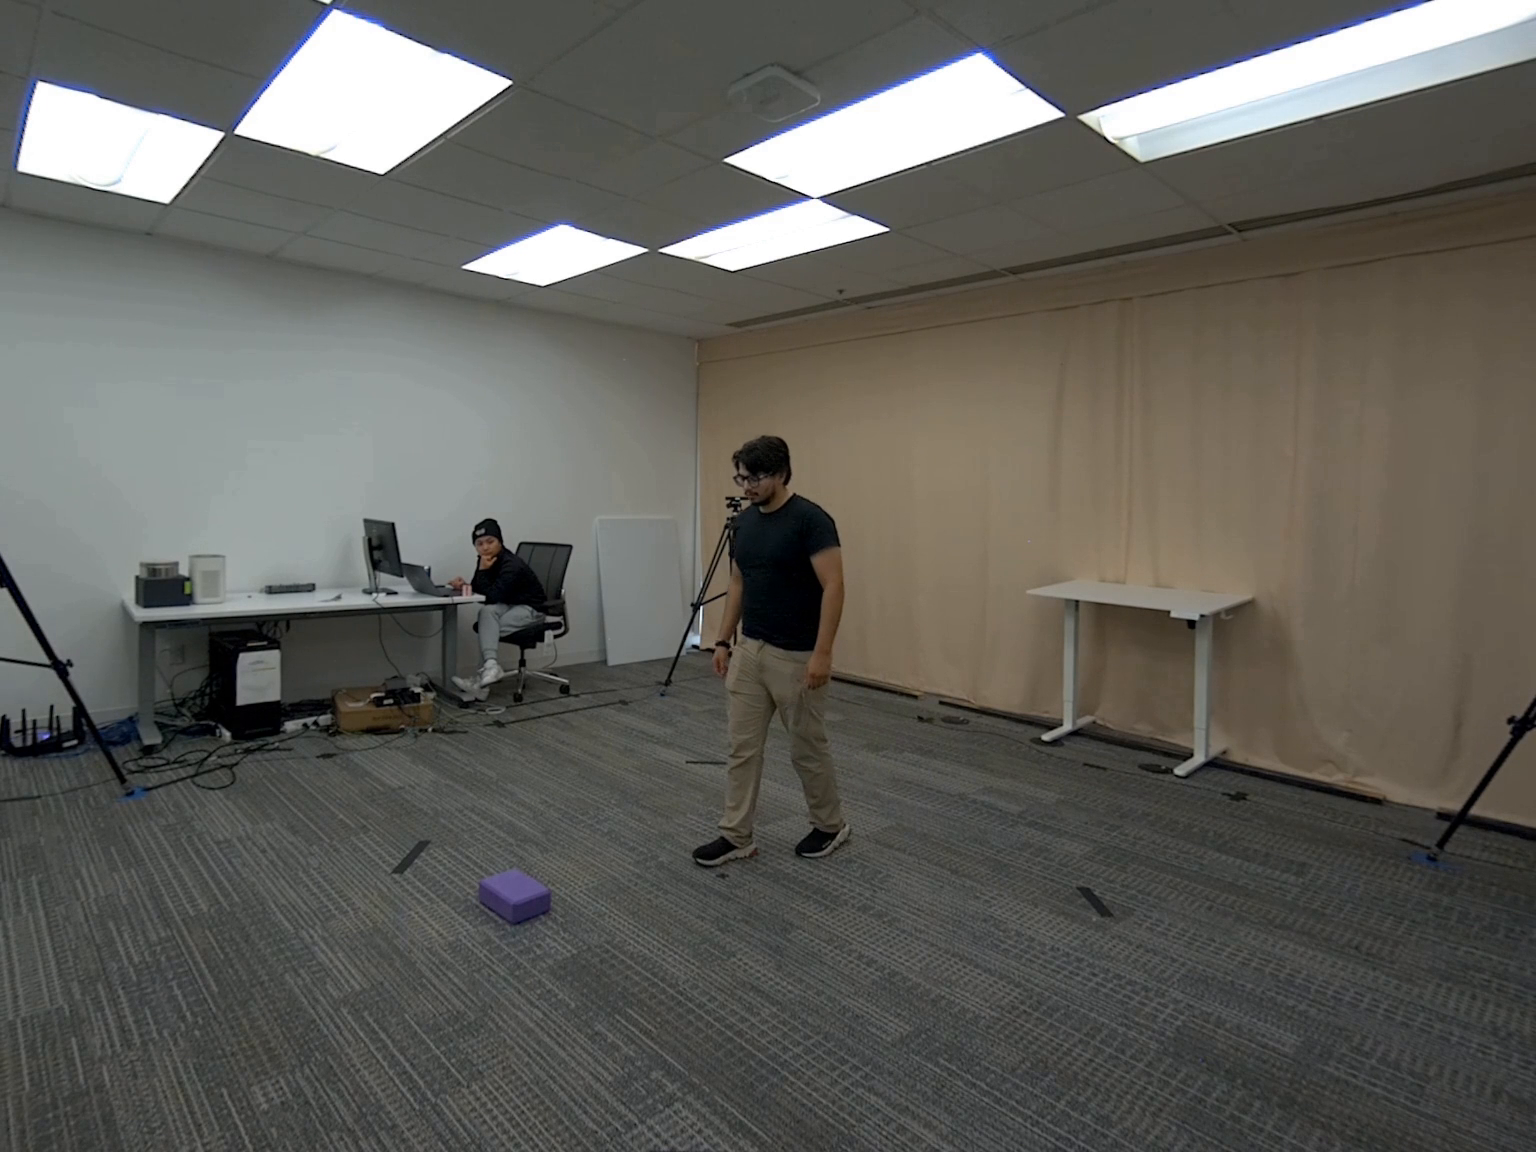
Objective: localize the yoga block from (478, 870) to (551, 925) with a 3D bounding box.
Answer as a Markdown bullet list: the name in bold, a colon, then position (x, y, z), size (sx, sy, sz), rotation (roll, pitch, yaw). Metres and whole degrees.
- **yoga block**: position (-0.861, 1.078, 2.833), size (0.235, 0.076, 0.146), rotation (6, 7, 43)
